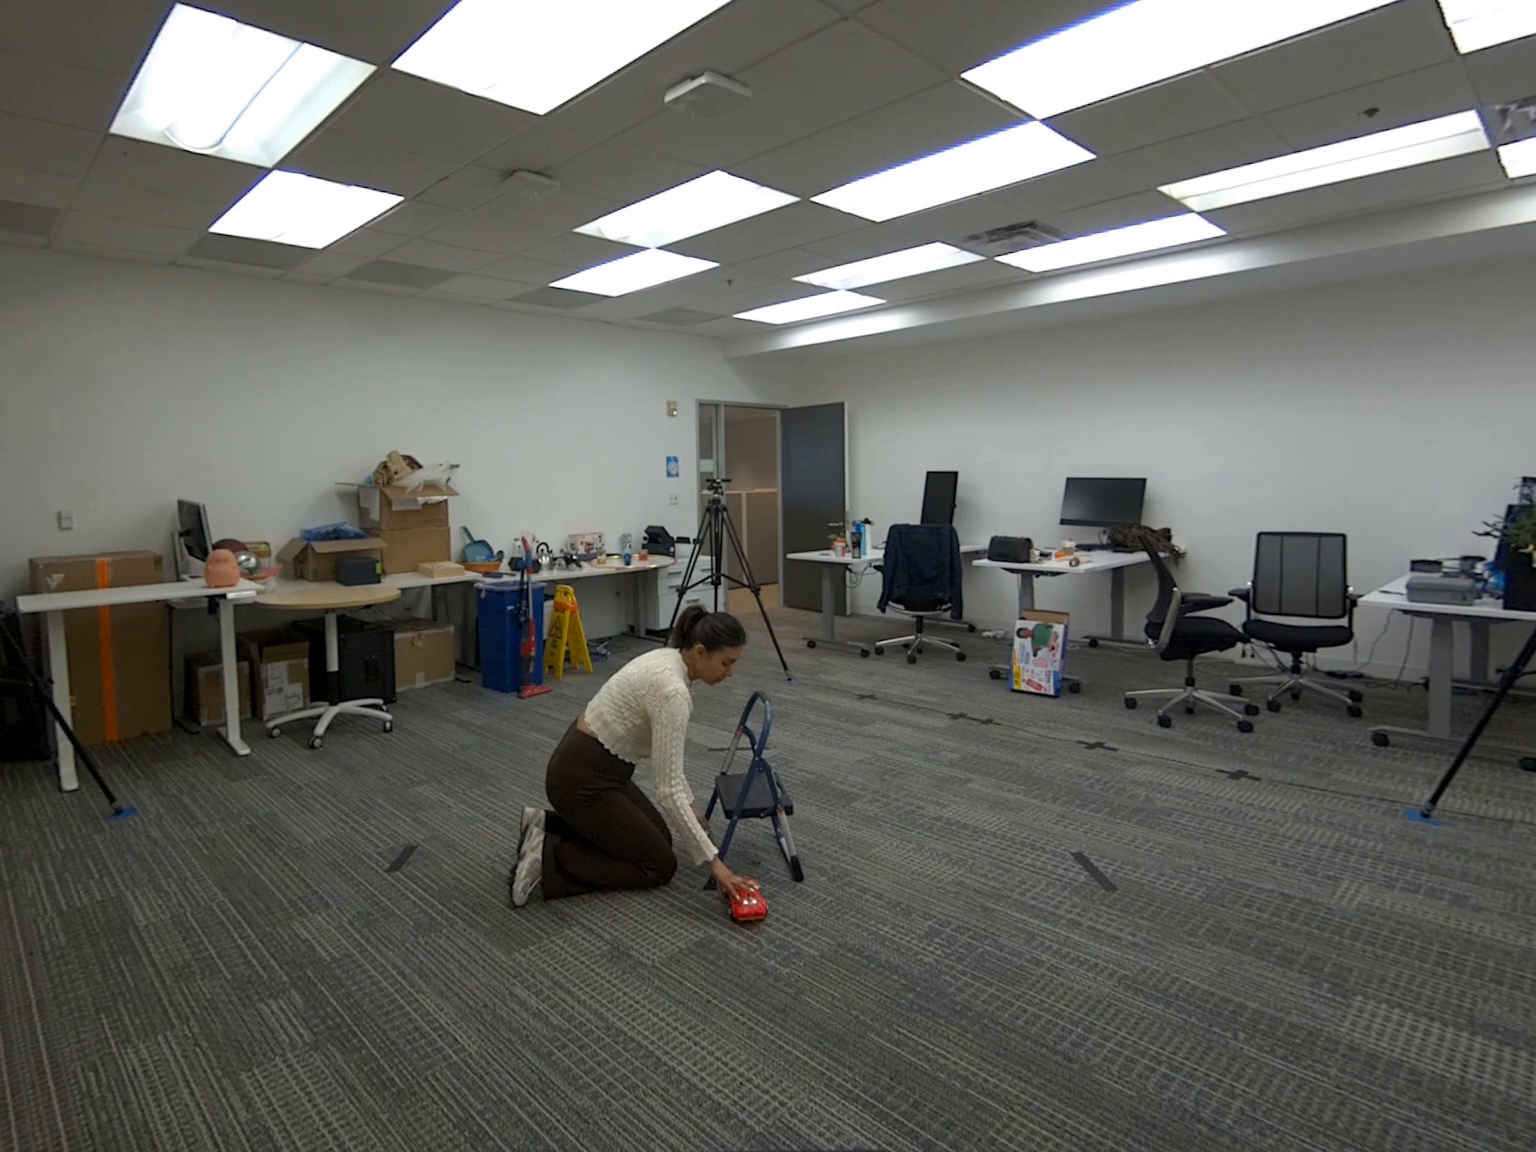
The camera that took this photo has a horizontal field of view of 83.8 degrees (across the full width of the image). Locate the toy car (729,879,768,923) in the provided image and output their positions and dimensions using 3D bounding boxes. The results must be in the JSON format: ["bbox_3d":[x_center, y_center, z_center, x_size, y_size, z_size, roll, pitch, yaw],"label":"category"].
[{"bbox_3d":[-0.078,1.049,2.775,0.129,0.083,0.255,0,-4,-7],"label":"toy car"}]
